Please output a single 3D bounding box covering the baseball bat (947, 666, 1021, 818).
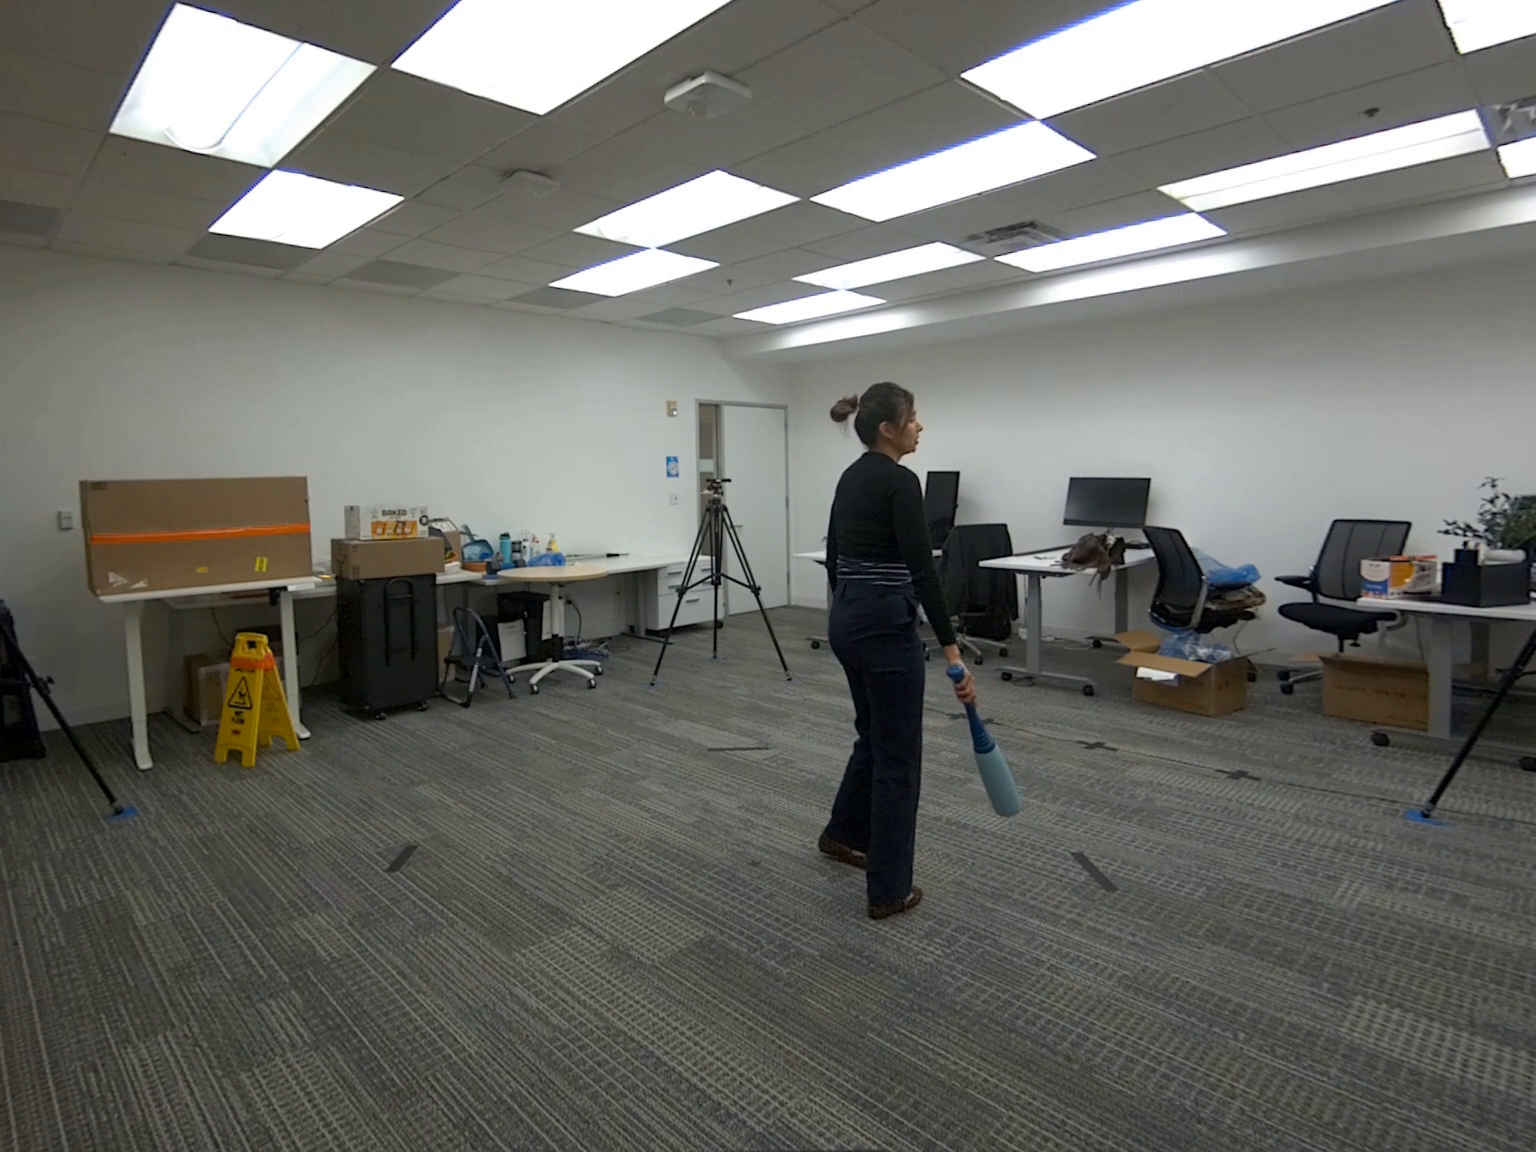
[{"bbox_3d":[0.641,0.497,2.579,0.089,0.530,0.091,-21,20,7],"label":"baseball bat"}]
